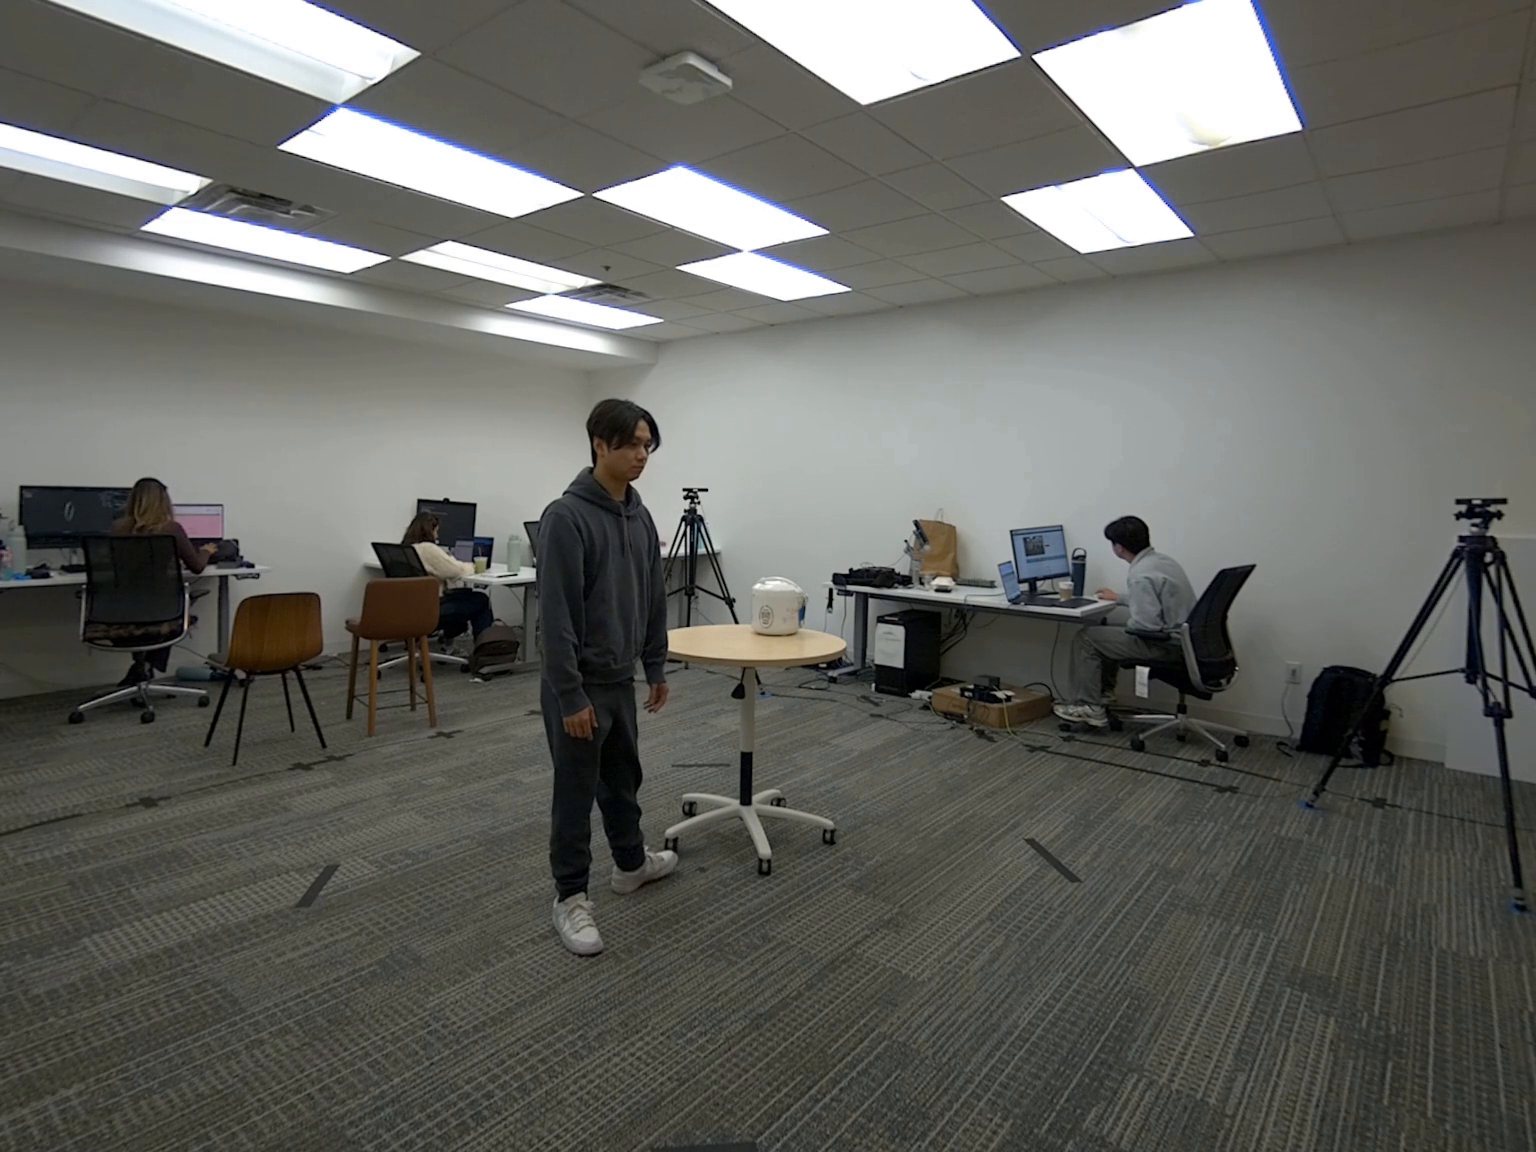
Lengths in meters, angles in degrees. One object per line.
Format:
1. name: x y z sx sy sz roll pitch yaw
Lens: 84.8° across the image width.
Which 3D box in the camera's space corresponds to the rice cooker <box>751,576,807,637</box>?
1. rice cooker: 0.026 0.116 3.537 0.226 0.232 0.213 3 5 24
